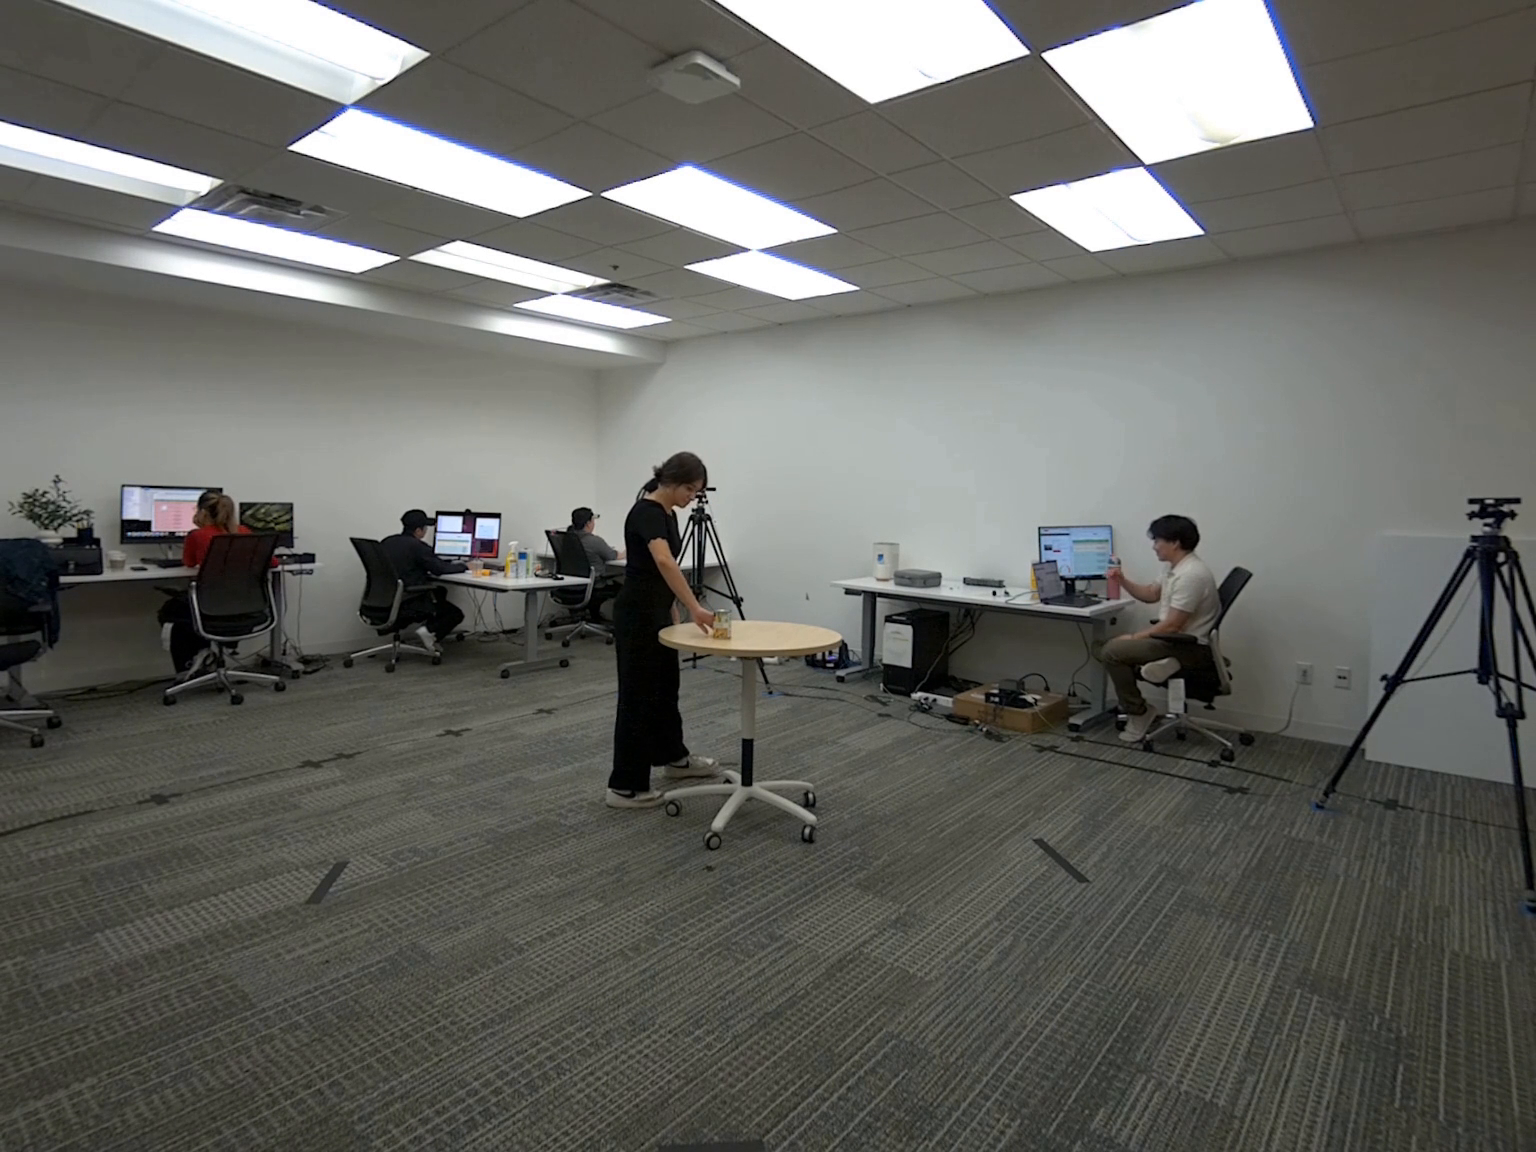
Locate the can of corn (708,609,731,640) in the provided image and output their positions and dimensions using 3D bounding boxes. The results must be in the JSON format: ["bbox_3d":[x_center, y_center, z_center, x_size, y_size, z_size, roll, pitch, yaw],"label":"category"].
[{"bbox_3d":[-0.193,0.195,3.443,0.074,0.111,0.074,0,1,-2],"label":"can of corn"}]
